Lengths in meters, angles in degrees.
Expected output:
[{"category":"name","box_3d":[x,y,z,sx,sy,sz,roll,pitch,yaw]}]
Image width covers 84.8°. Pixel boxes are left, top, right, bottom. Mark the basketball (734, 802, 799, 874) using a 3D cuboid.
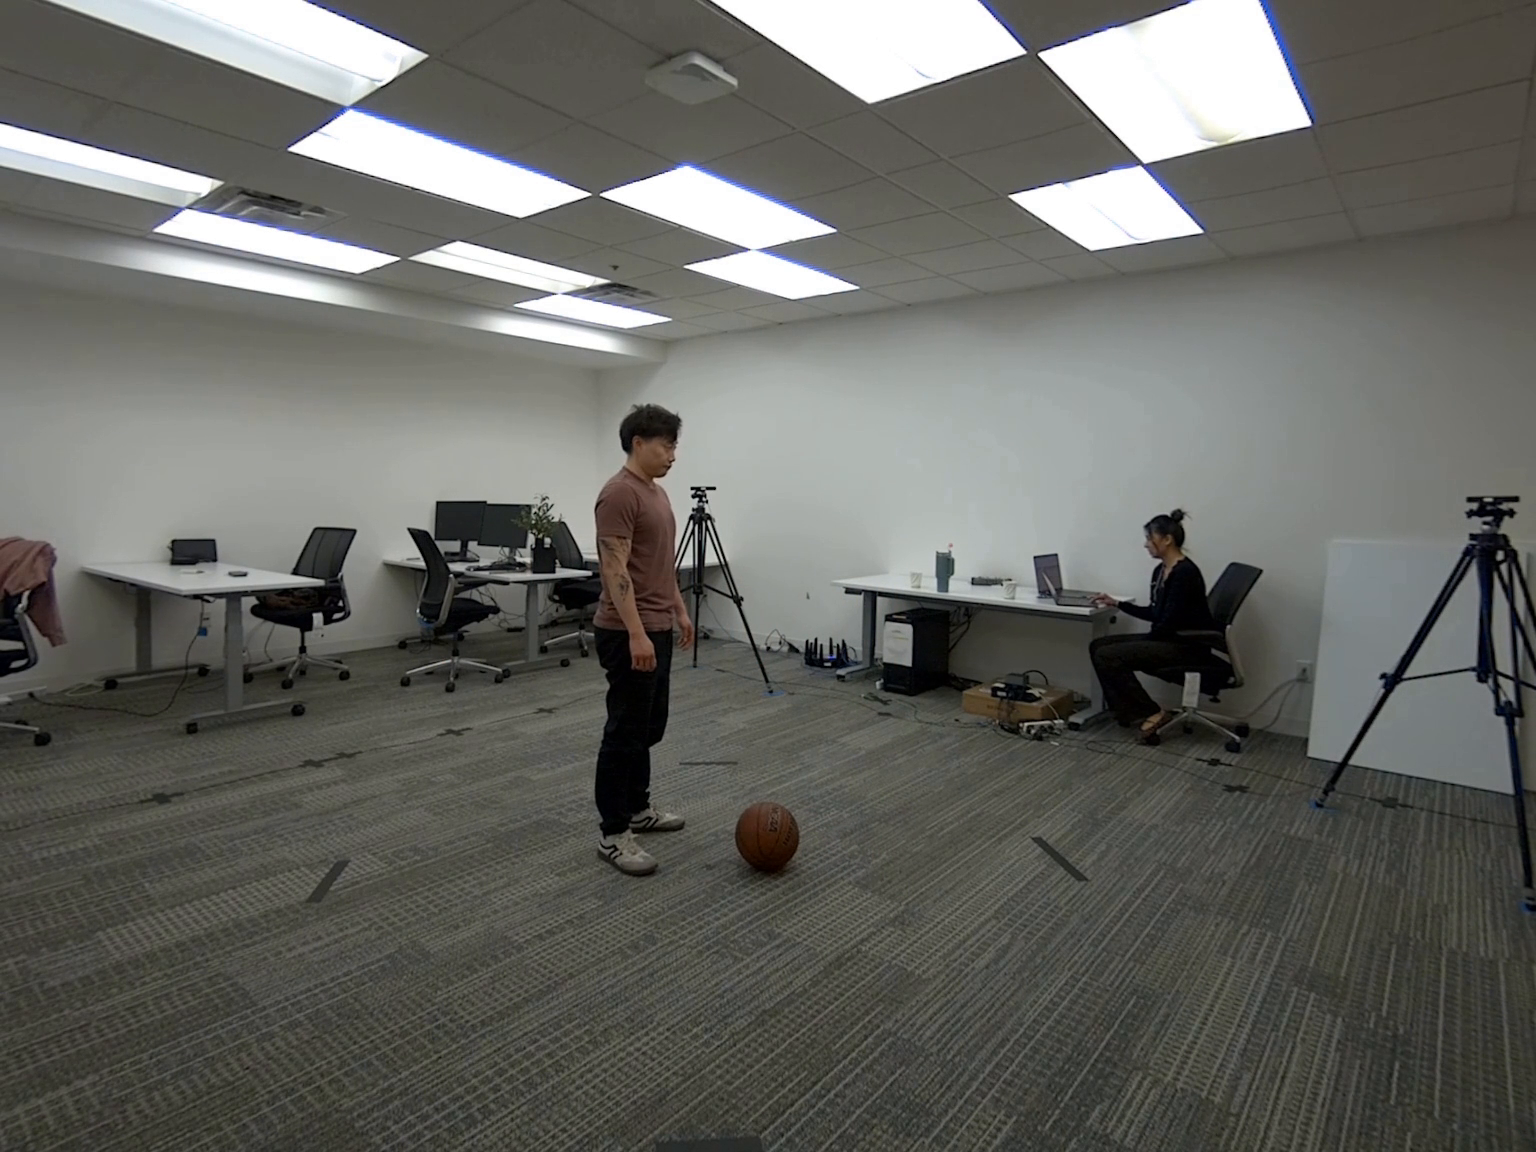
[{"category":"basketball","box_3d":[-0.008,0.951,3.120,0.235,0.235,0.237,1,4,-2]}]
